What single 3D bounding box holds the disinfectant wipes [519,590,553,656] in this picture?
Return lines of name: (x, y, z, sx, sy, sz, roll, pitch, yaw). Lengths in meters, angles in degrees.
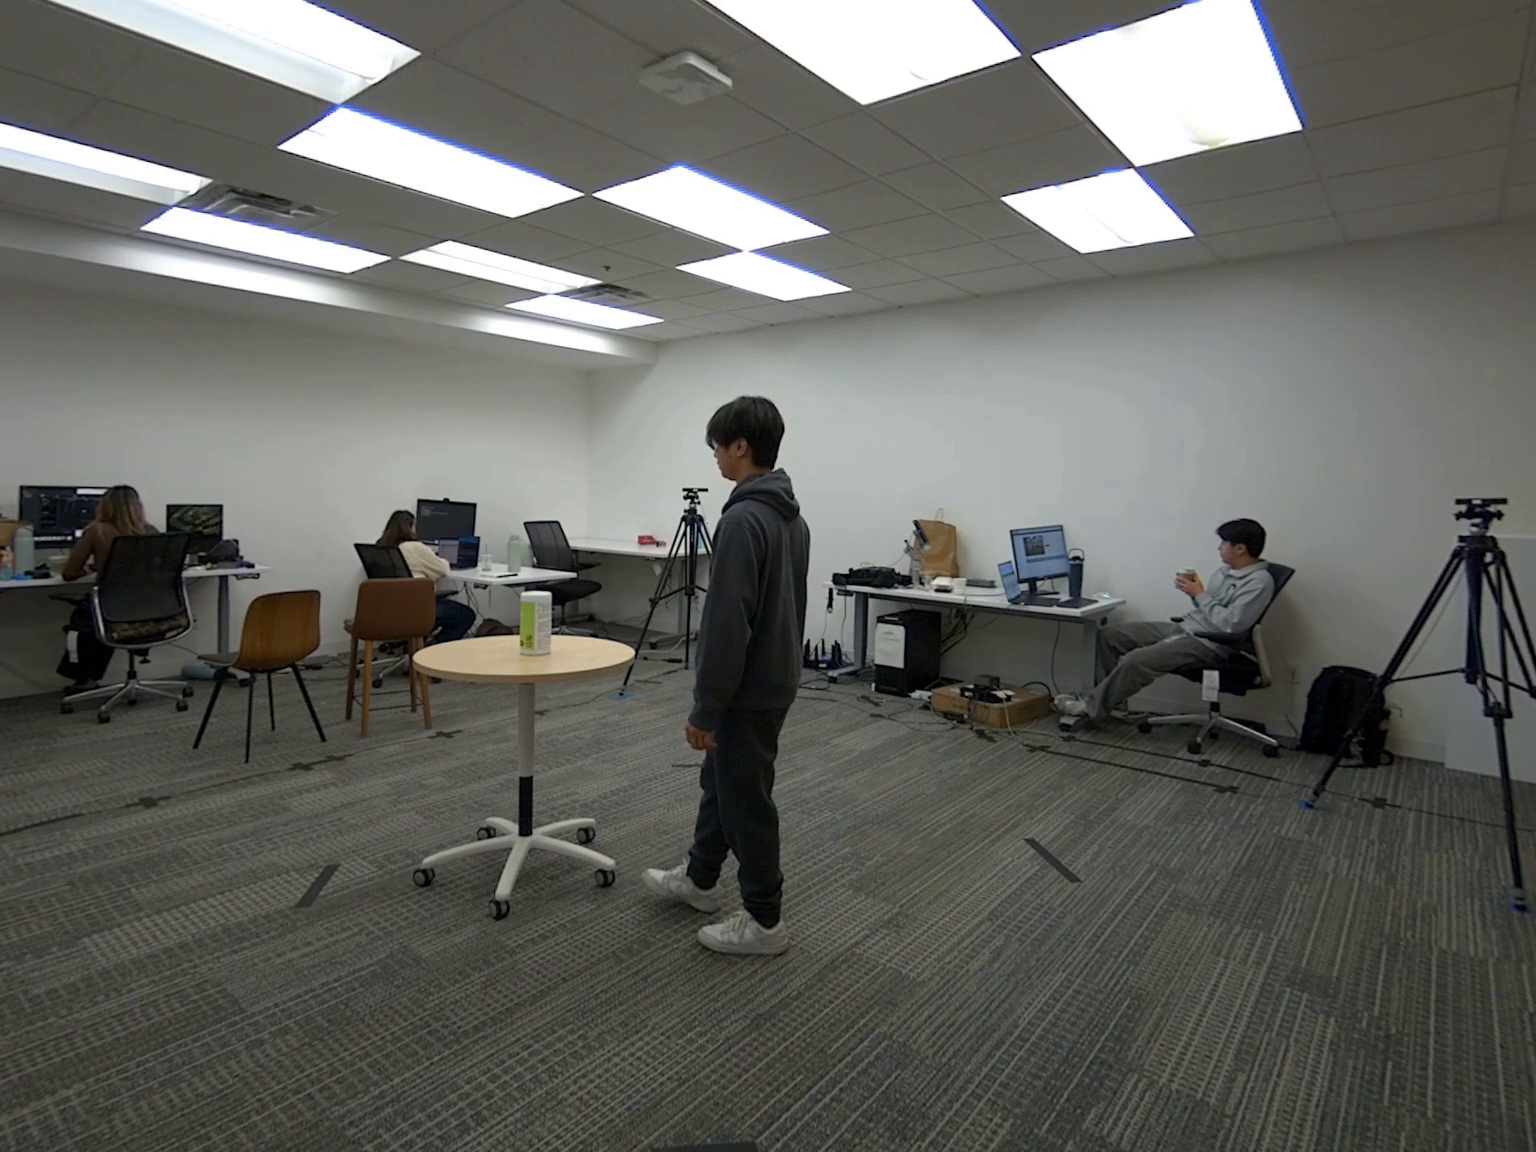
disinfectant wipes: (-0.837, 0.165, 3.023, 0.118, 0.217, 0.118, 1, 2, -2)
